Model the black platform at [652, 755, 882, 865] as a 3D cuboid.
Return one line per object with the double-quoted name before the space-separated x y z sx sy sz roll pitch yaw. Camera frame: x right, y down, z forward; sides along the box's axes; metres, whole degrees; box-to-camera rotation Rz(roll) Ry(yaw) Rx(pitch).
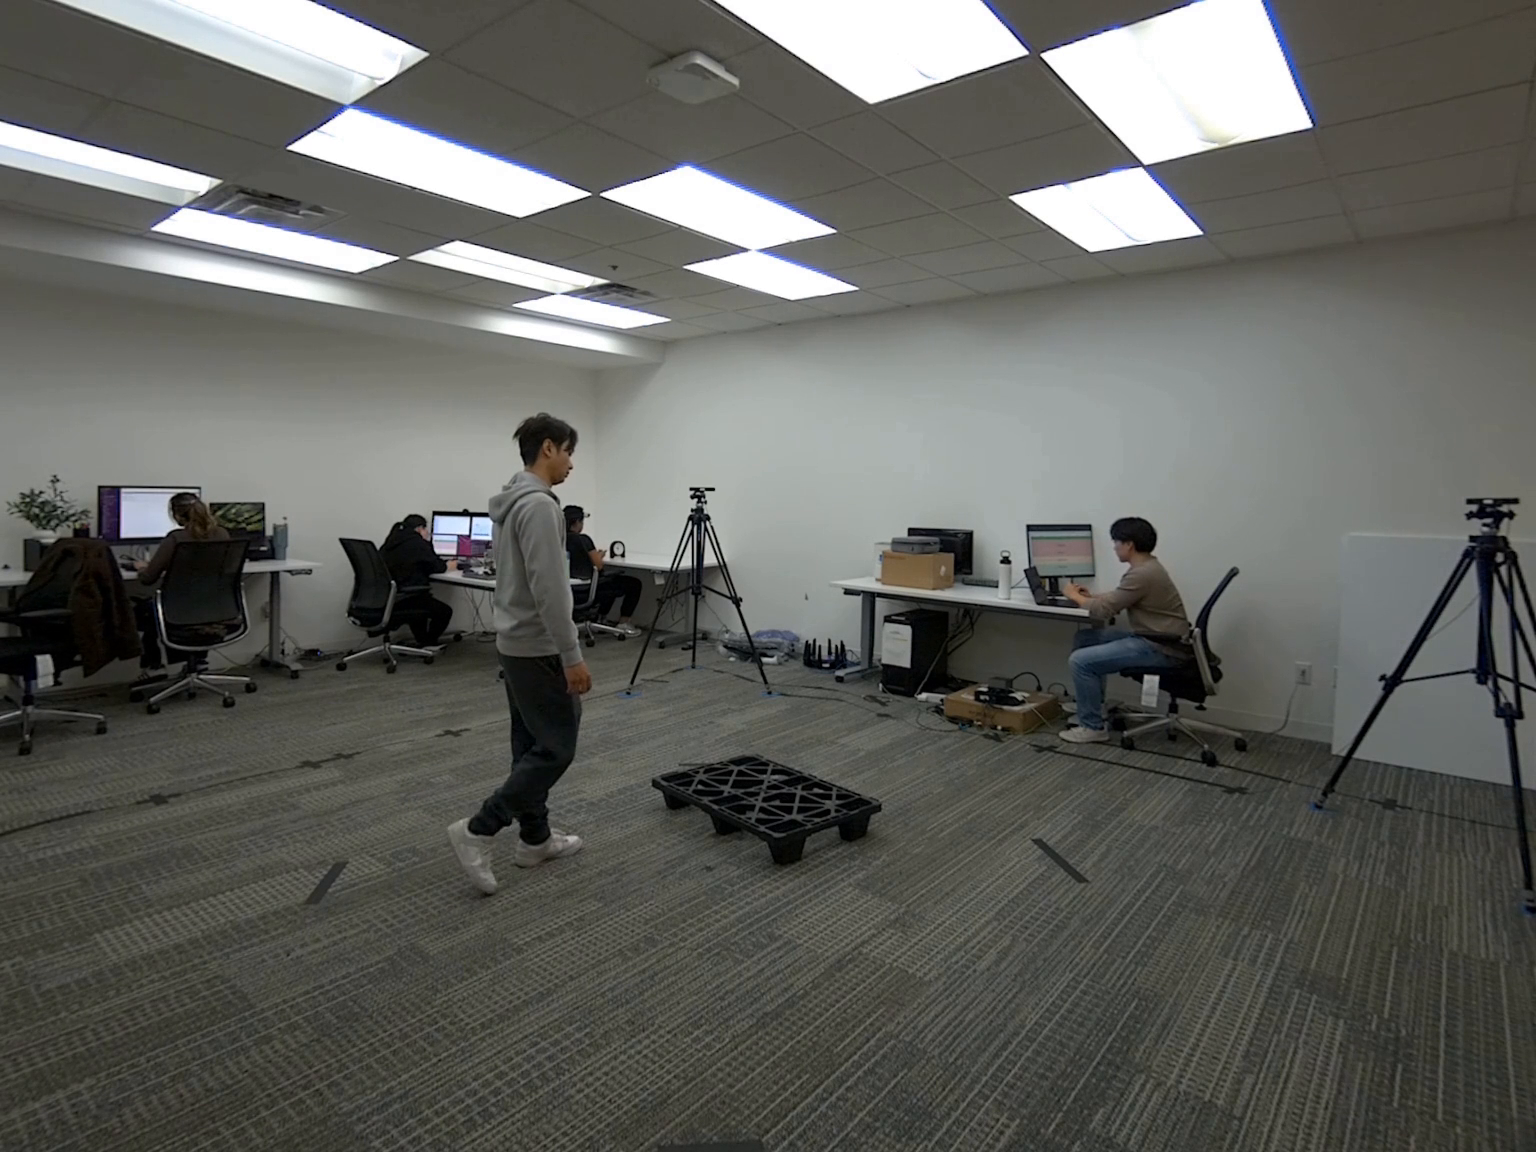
"black platform" -0.031 0.959 3.566 0.587 0.143 0.833 -4 8 -41
